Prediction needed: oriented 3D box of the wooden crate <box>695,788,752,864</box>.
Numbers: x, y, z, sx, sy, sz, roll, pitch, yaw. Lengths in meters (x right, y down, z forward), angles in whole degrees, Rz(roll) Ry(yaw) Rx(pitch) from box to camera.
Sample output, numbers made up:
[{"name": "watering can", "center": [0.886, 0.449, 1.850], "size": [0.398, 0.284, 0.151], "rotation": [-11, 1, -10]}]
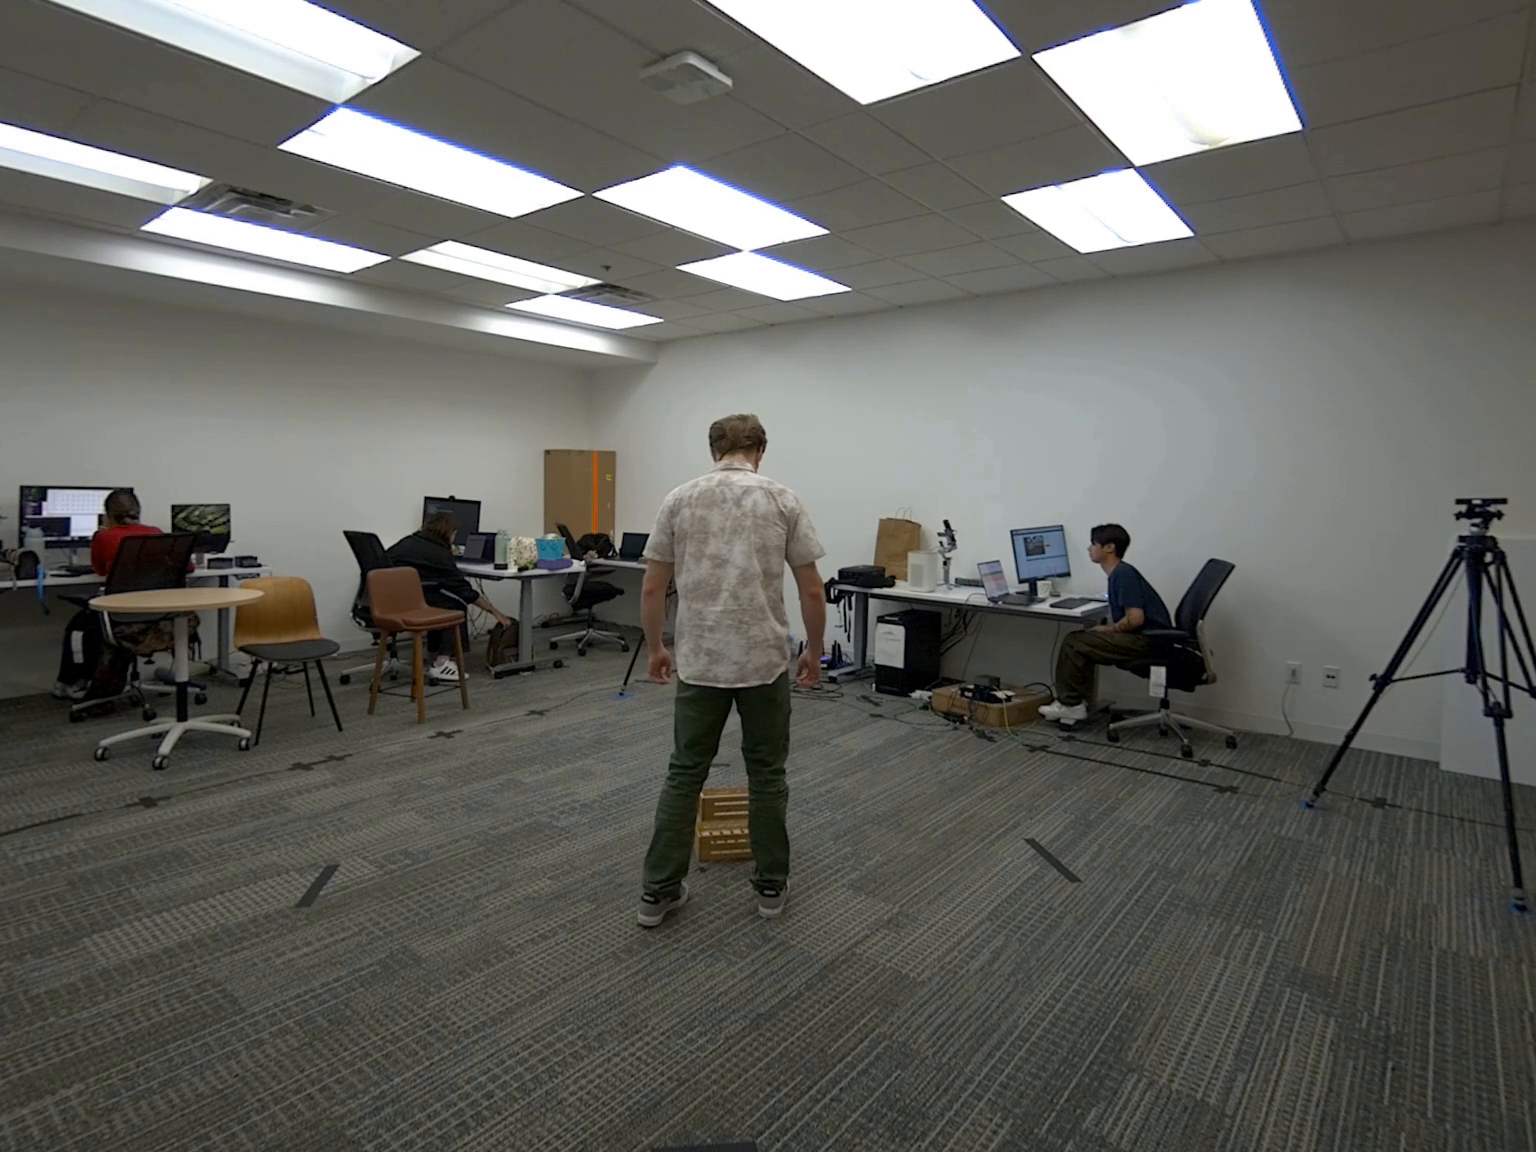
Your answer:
[{"name": "wooden crate", "center": [-0.139, 0.919, 3.298], "size": [0.321, 0.272, 0.306], "rotation": [0, 4, -11]}]
